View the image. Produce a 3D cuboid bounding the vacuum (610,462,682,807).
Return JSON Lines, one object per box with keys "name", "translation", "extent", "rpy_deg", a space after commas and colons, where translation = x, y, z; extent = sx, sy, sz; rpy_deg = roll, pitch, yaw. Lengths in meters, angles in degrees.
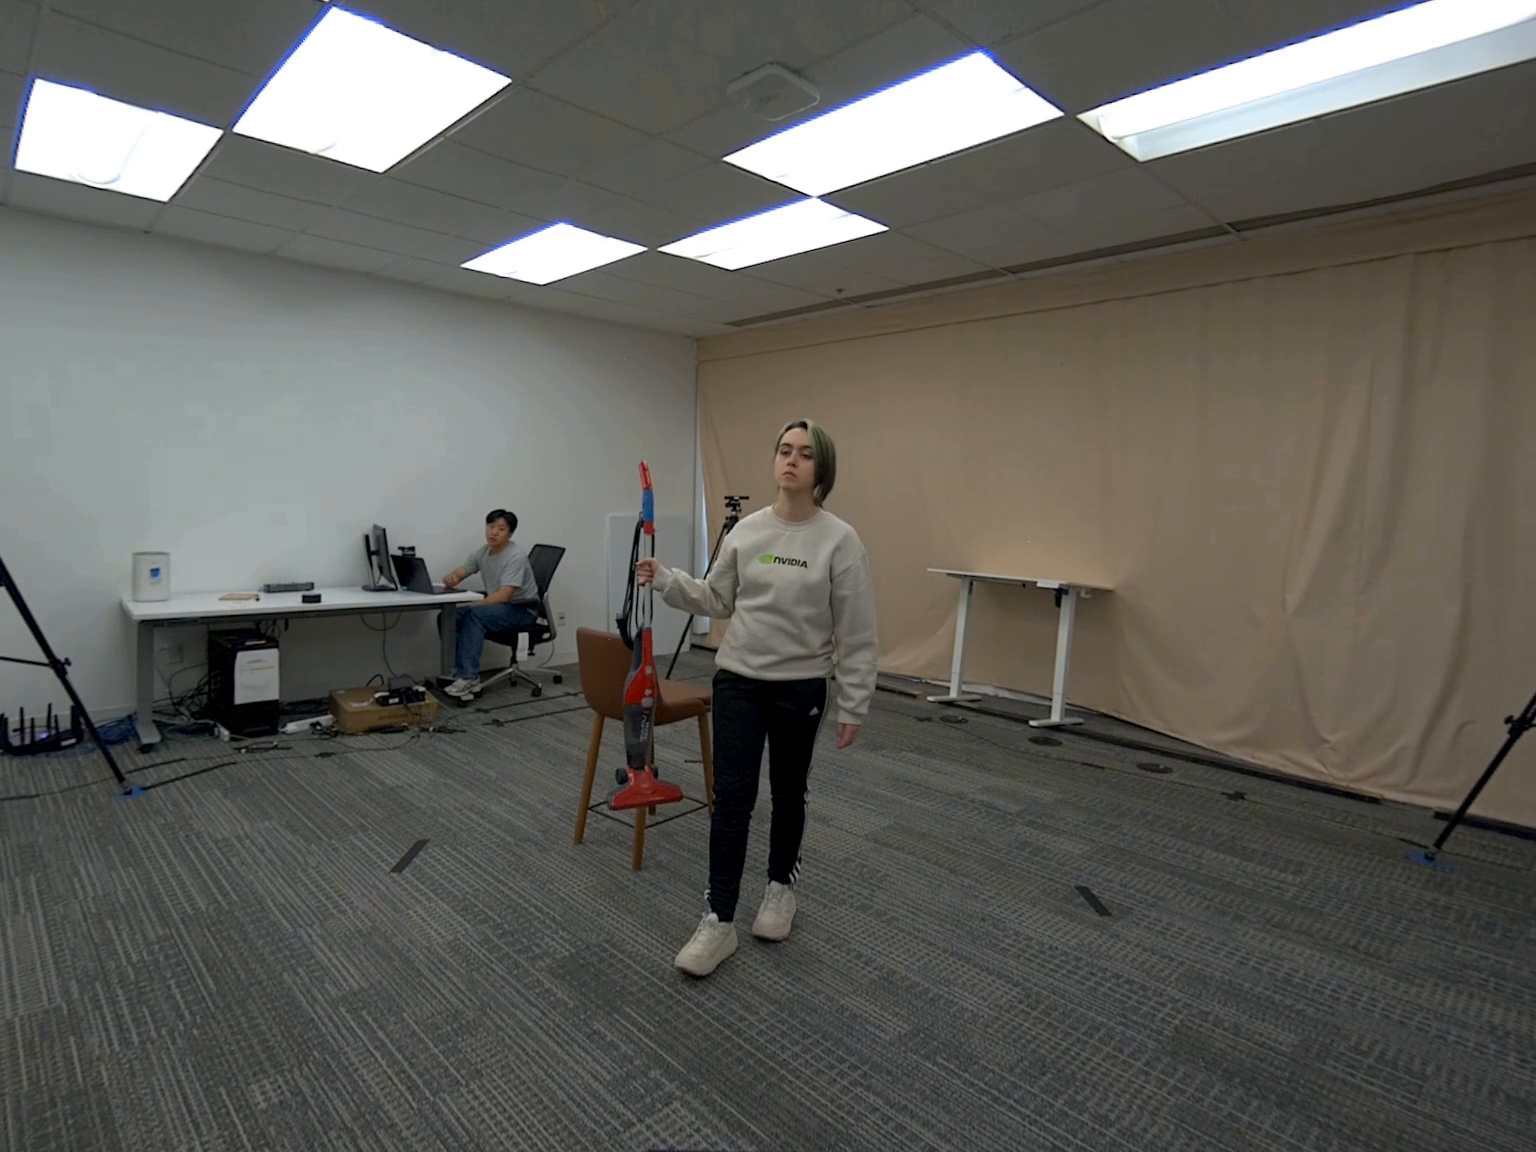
{"name": "vacuum", "translation": [-0.416, 0.152, 2.728], "extent": [0.247, 1.051, 0.147], "rpy_deg": [0, -2, -31]}
